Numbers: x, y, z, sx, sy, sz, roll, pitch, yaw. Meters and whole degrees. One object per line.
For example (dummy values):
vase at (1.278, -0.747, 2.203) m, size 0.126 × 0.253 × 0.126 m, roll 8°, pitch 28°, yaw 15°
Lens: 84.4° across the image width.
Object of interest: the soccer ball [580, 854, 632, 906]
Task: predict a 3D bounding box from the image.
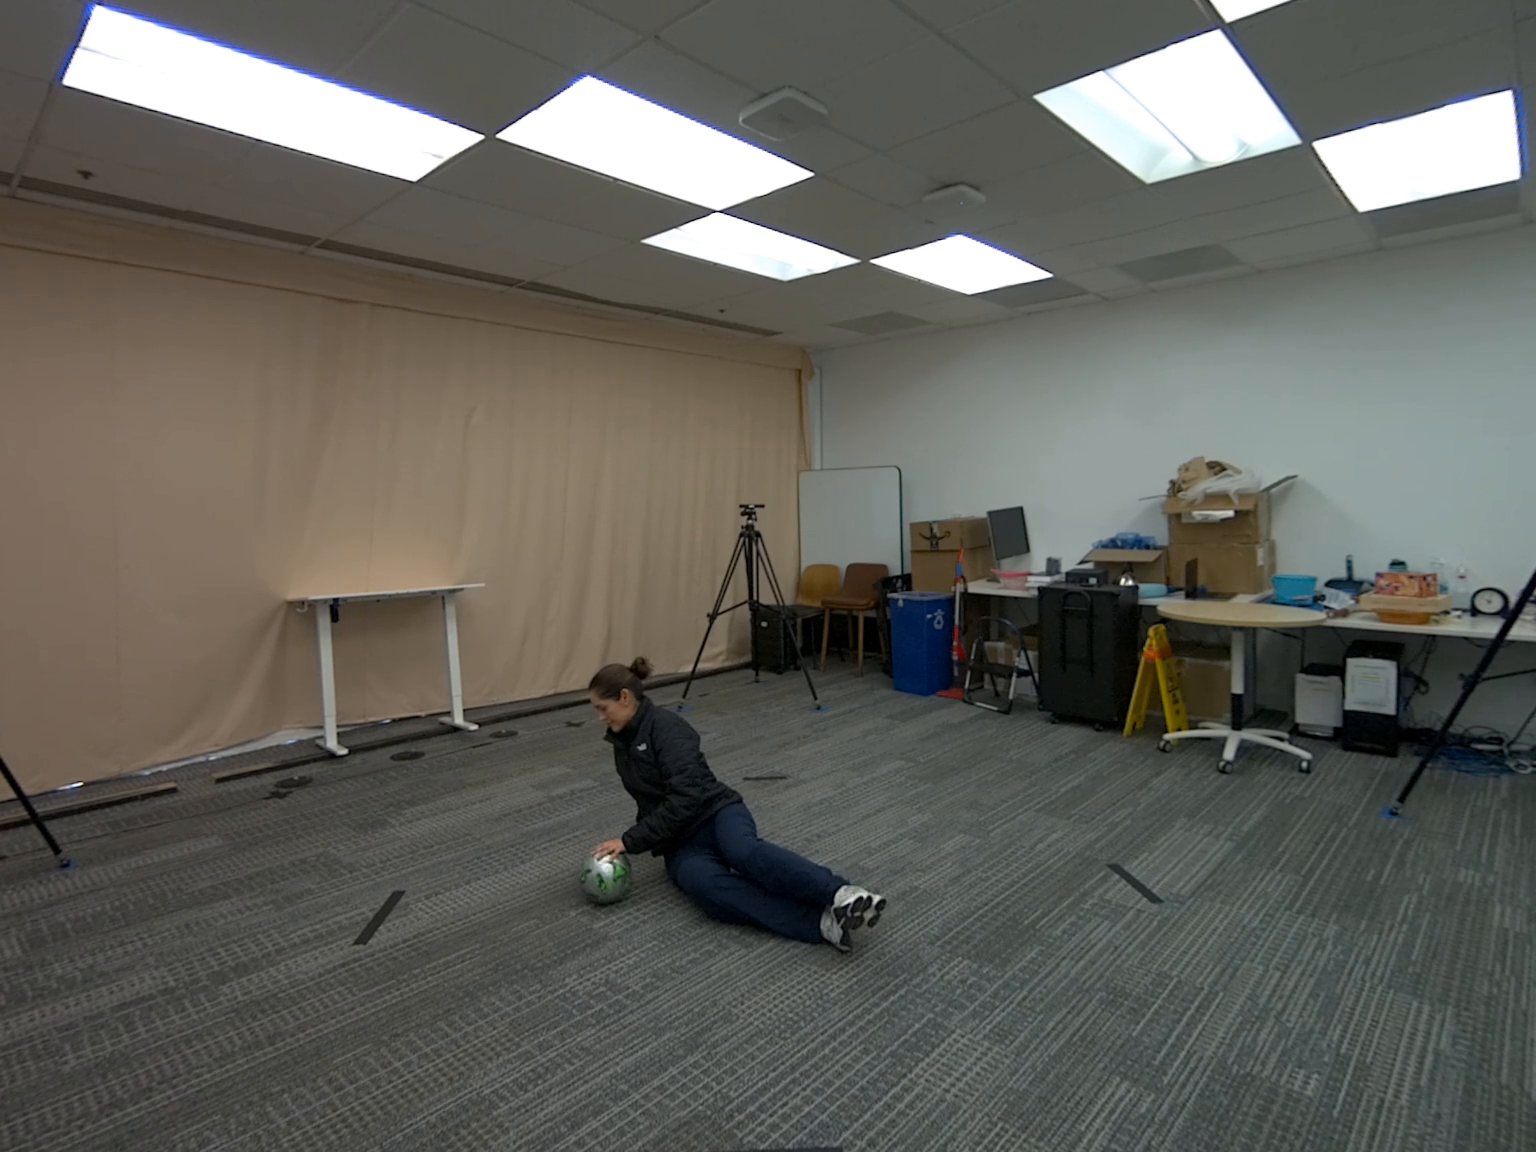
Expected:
soccer ball at (-0.569, 1.057, 3.000) m, size 0.187 × 0.187 × 0.188 m, roll -1°, pitch 4°, yaw -2°
